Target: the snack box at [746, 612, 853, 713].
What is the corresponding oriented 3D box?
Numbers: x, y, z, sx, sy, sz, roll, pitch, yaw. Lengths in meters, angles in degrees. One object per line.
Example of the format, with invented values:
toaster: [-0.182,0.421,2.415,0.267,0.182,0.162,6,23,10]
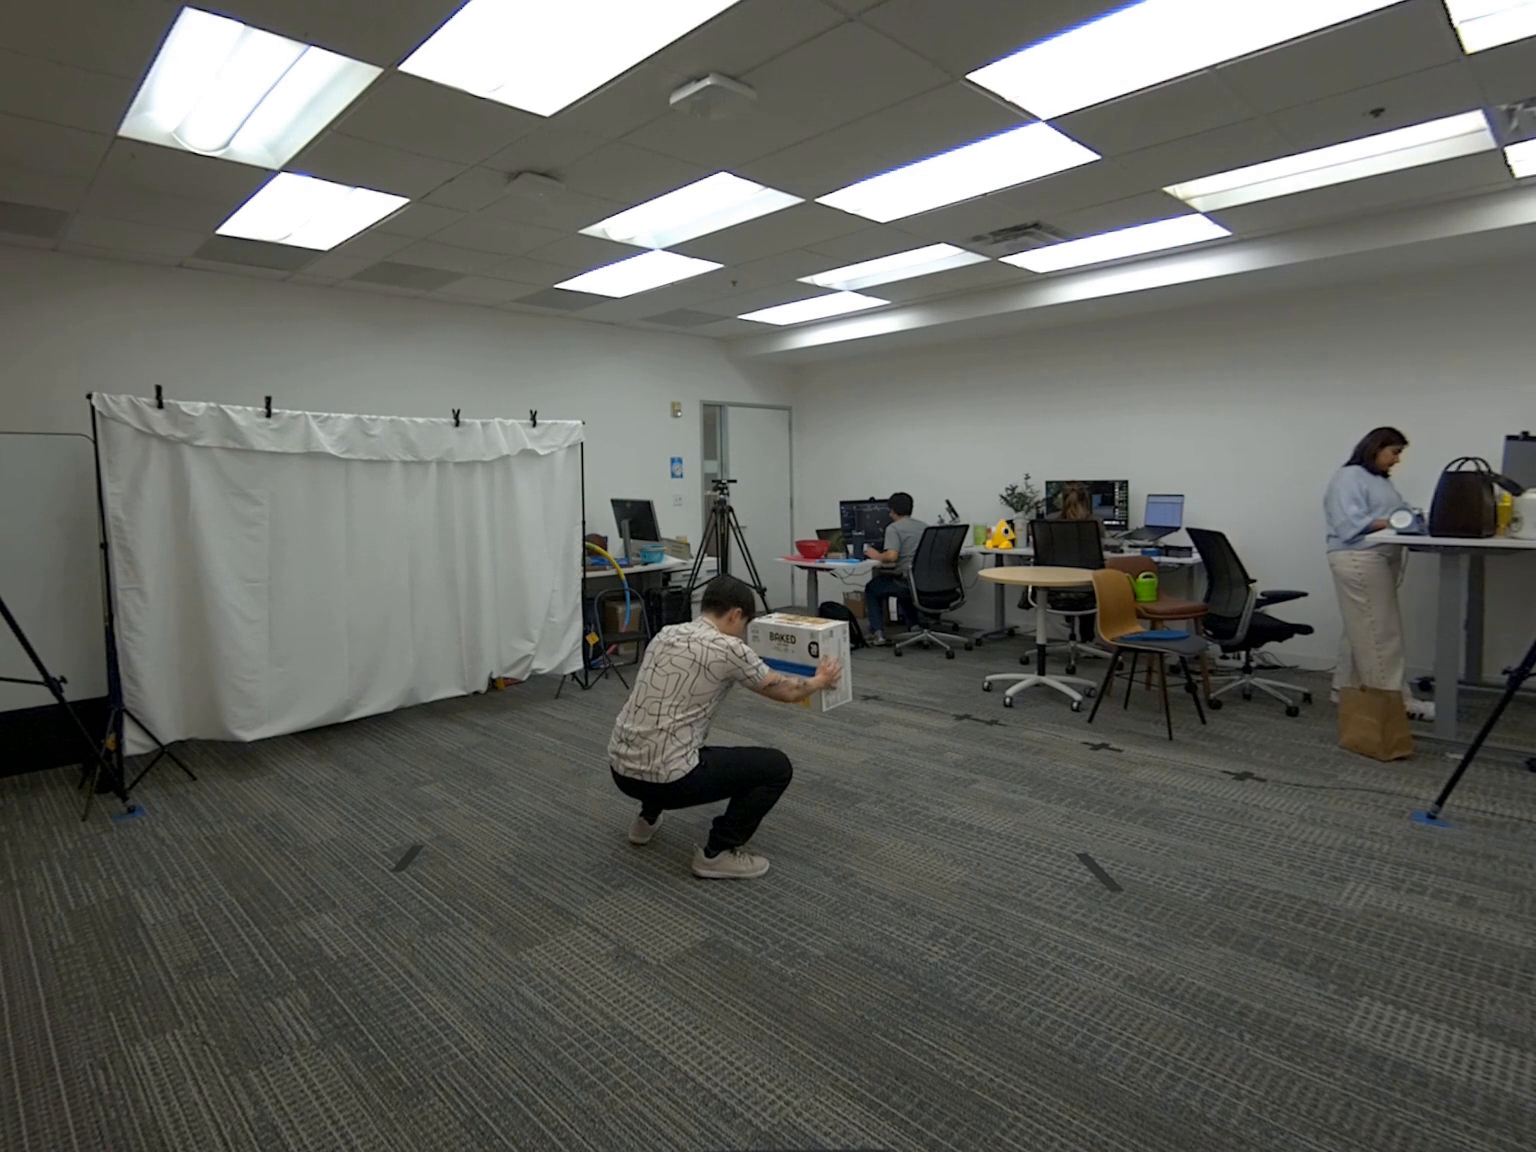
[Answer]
snack box: [0.133,0.357,3.653,0.418,0.338,0.201,4,10,44]
